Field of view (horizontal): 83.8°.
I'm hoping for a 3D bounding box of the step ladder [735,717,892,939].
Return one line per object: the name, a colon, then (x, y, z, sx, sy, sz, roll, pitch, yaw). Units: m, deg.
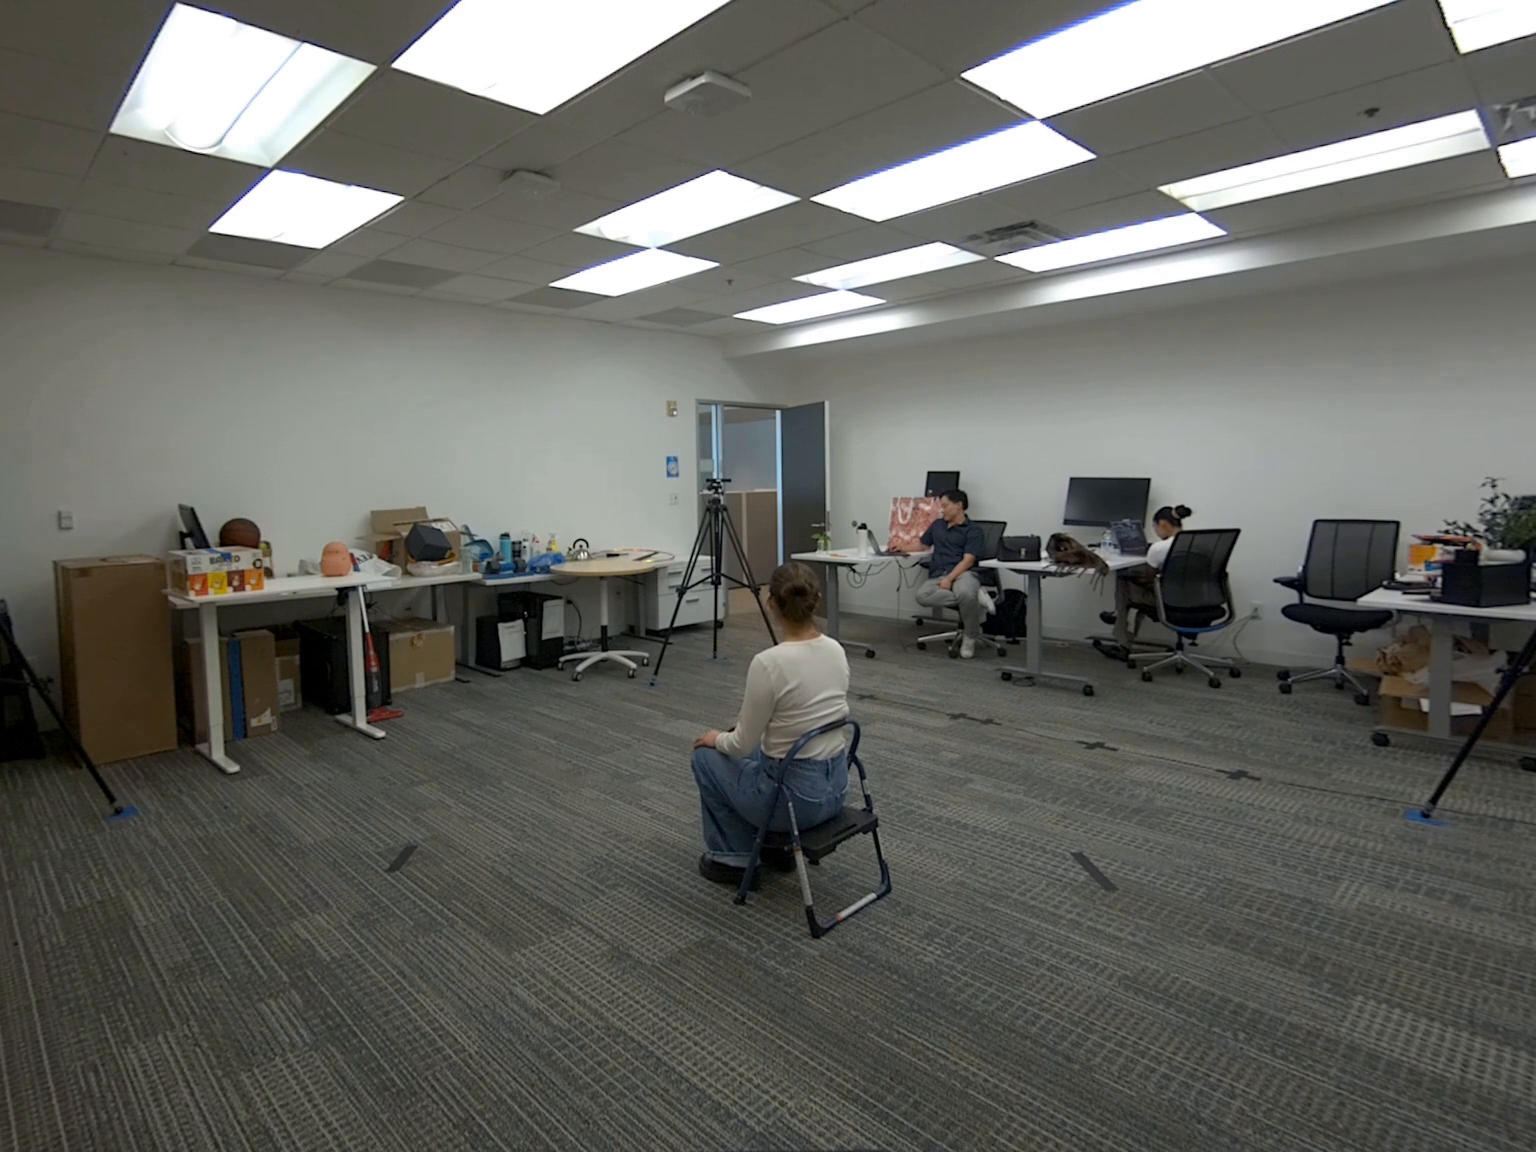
step ladder: (0.153, 0.768, 2.827, 0.360, 0.604, 0.419, 3, 6, 42)
